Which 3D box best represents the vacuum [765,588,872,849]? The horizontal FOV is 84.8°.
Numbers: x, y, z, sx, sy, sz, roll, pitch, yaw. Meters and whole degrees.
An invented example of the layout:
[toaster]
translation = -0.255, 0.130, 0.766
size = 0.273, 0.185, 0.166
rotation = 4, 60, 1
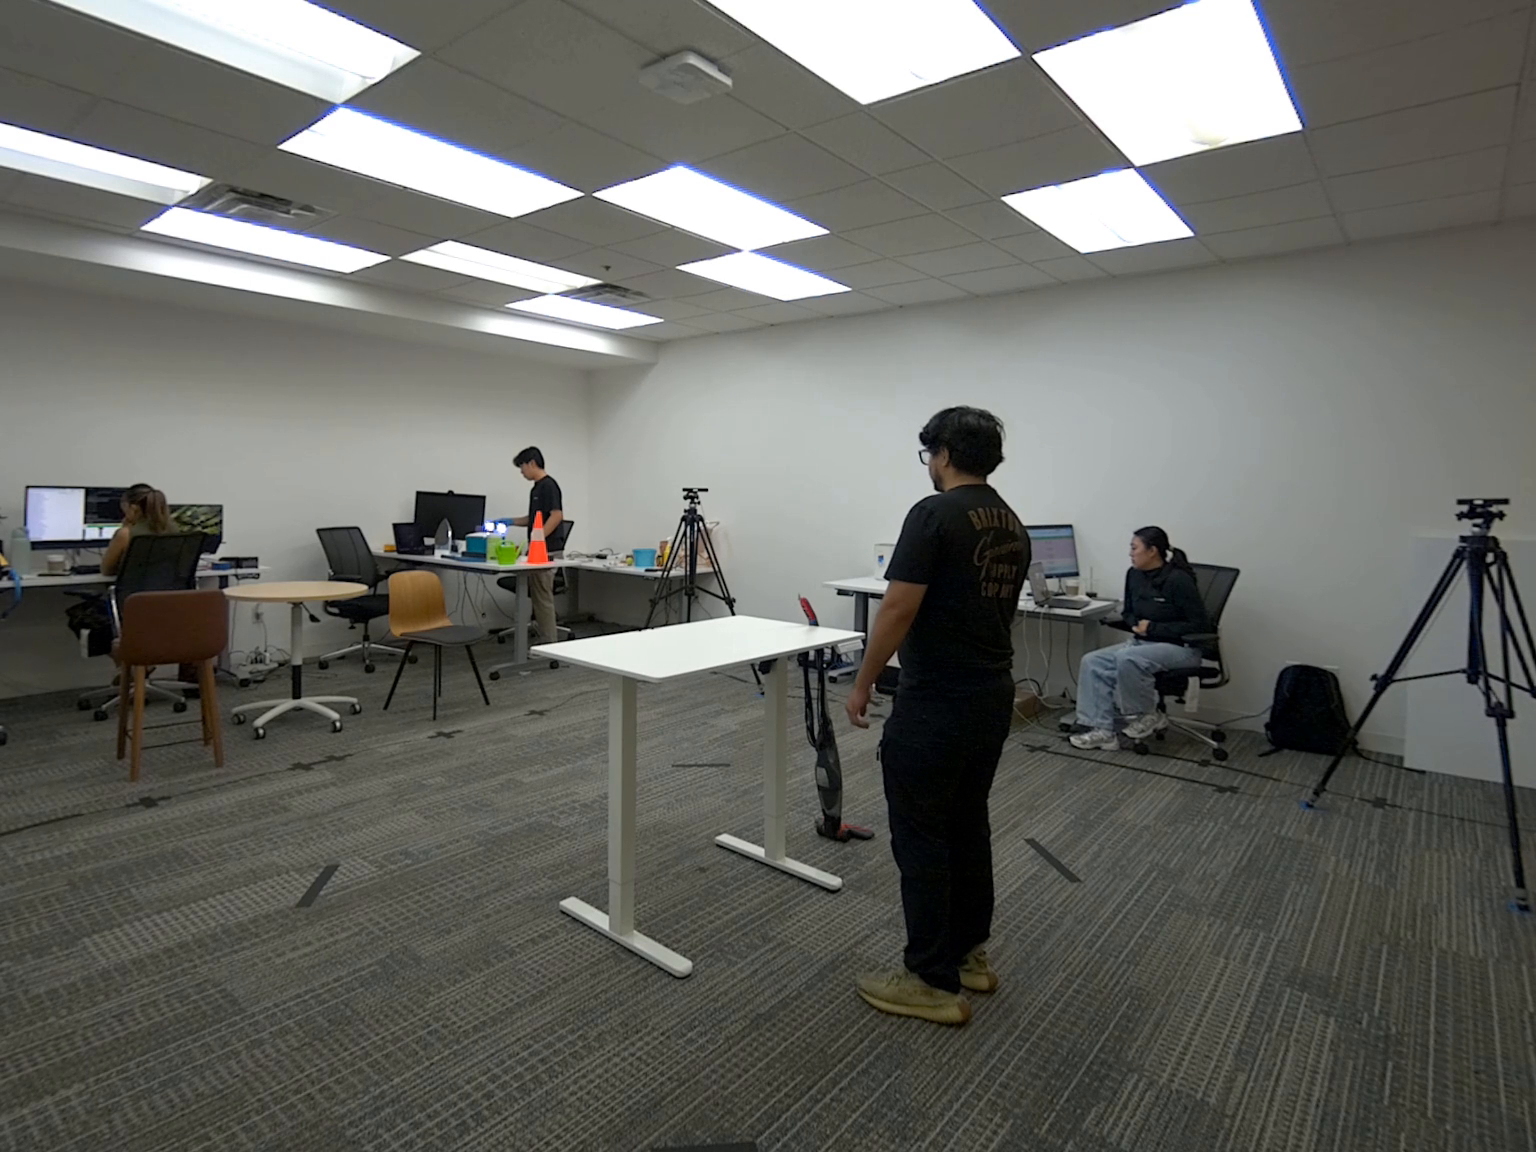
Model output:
[vacuum]
translation = 0.206, 0.564, 3.286
size = 0.260, 1.027, 0.143
rotation = 3, 23, 30
